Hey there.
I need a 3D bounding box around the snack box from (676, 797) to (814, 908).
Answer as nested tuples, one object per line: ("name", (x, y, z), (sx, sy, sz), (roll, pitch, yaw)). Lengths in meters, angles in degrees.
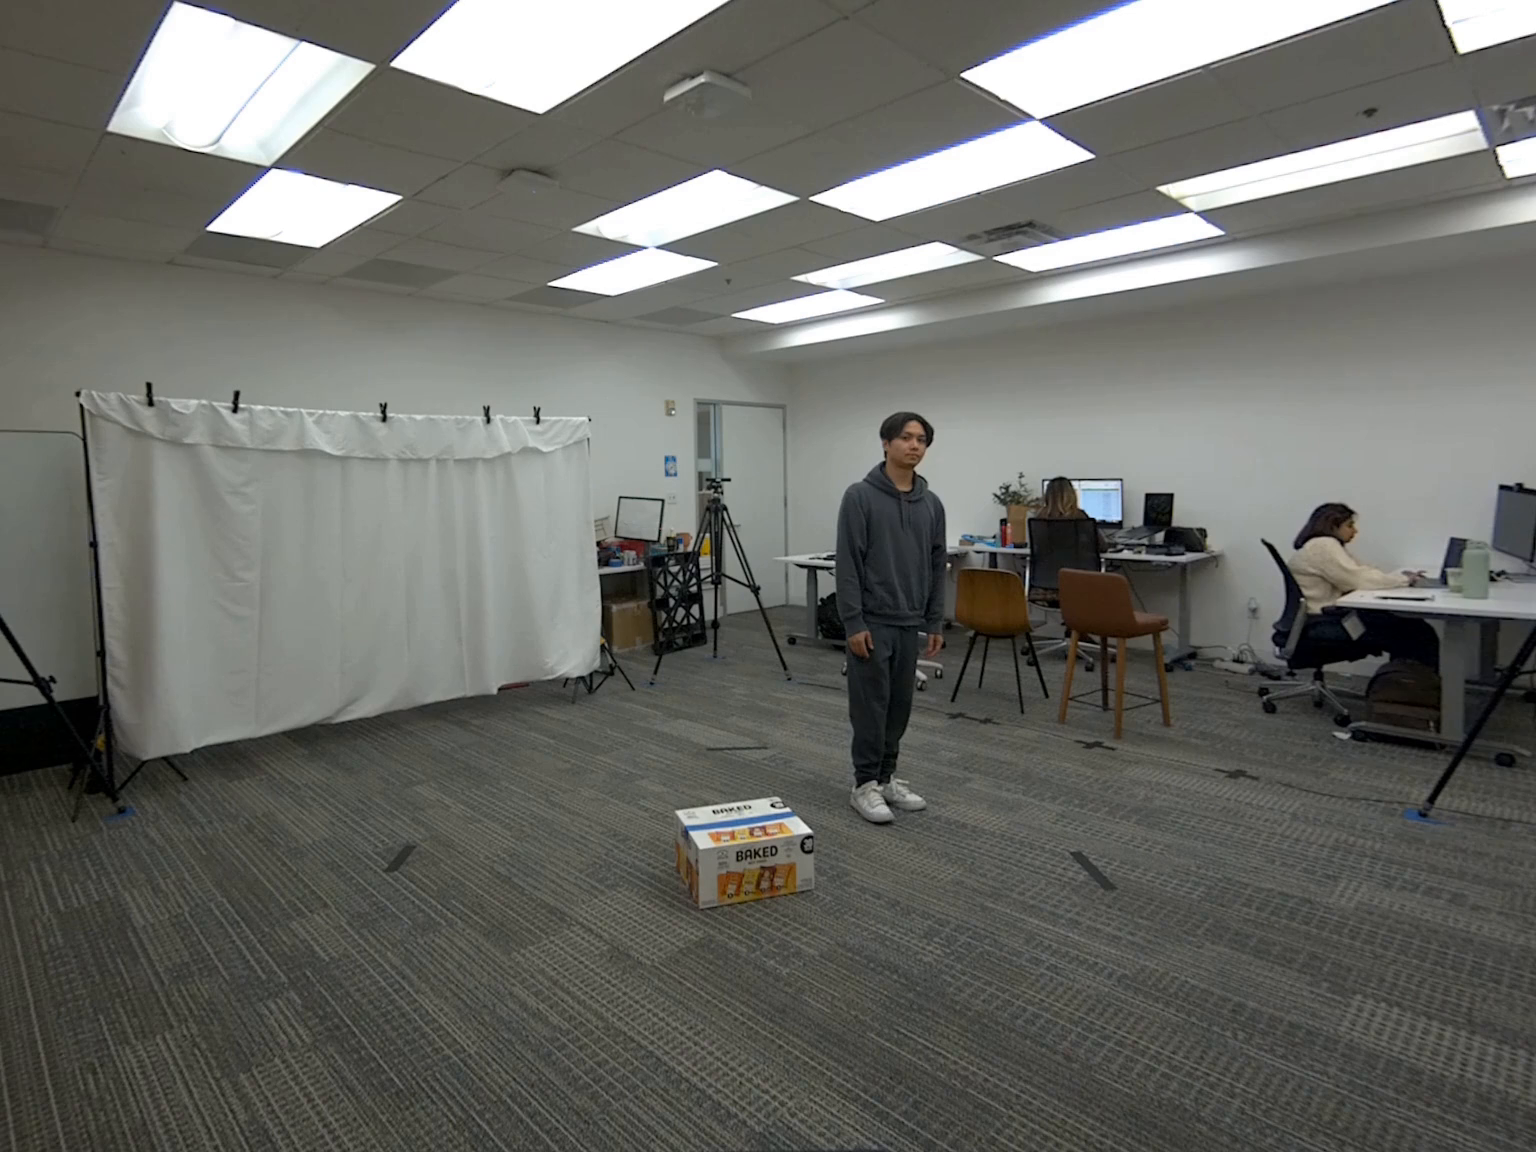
("snack box", (-0.087, 0.954, 2.983), (0.399, 0.205, 0.347), (-3, 6, -18))
